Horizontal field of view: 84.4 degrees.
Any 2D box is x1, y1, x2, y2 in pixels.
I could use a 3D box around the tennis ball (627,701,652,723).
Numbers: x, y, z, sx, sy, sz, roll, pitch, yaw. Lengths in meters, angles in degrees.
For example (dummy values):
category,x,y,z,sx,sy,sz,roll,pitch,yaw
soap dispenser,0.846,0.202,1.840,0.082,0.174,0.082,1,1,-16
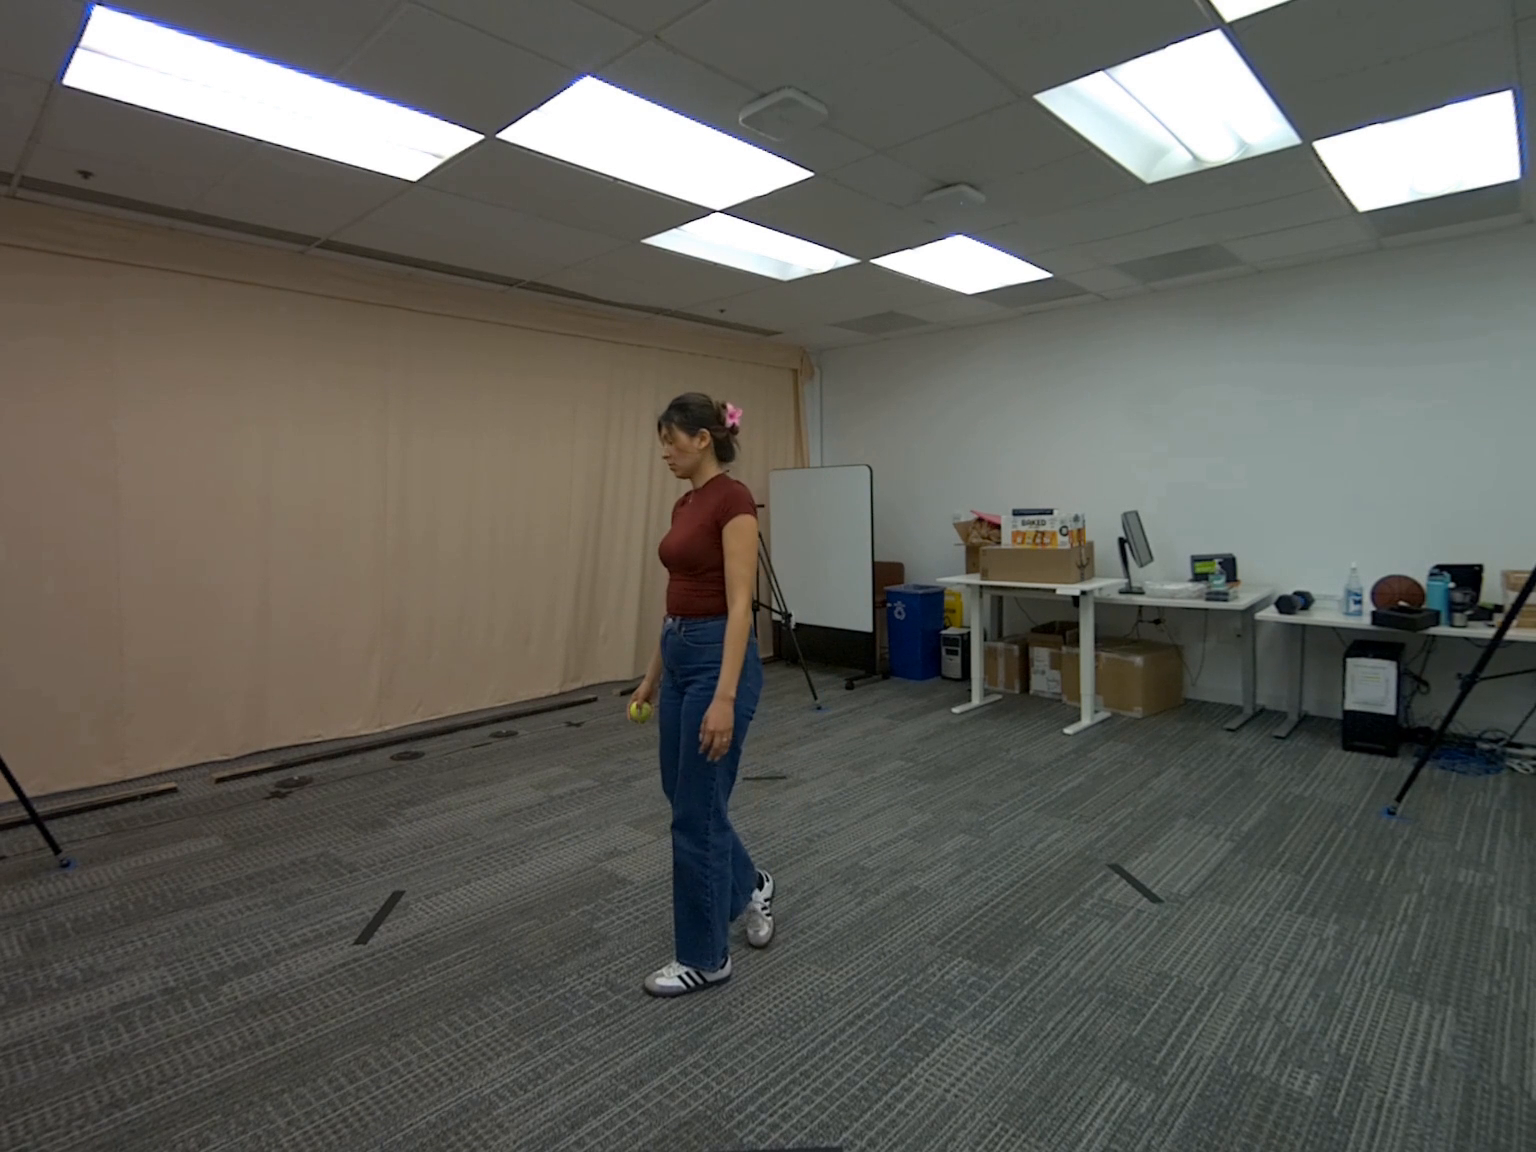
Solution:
category,x,y,z,sx,sy,sz,roll,pitch,yaw
tennis ball,-0.398,0.424,2.721,0.066,0.066,0.067,-1,4,-2
